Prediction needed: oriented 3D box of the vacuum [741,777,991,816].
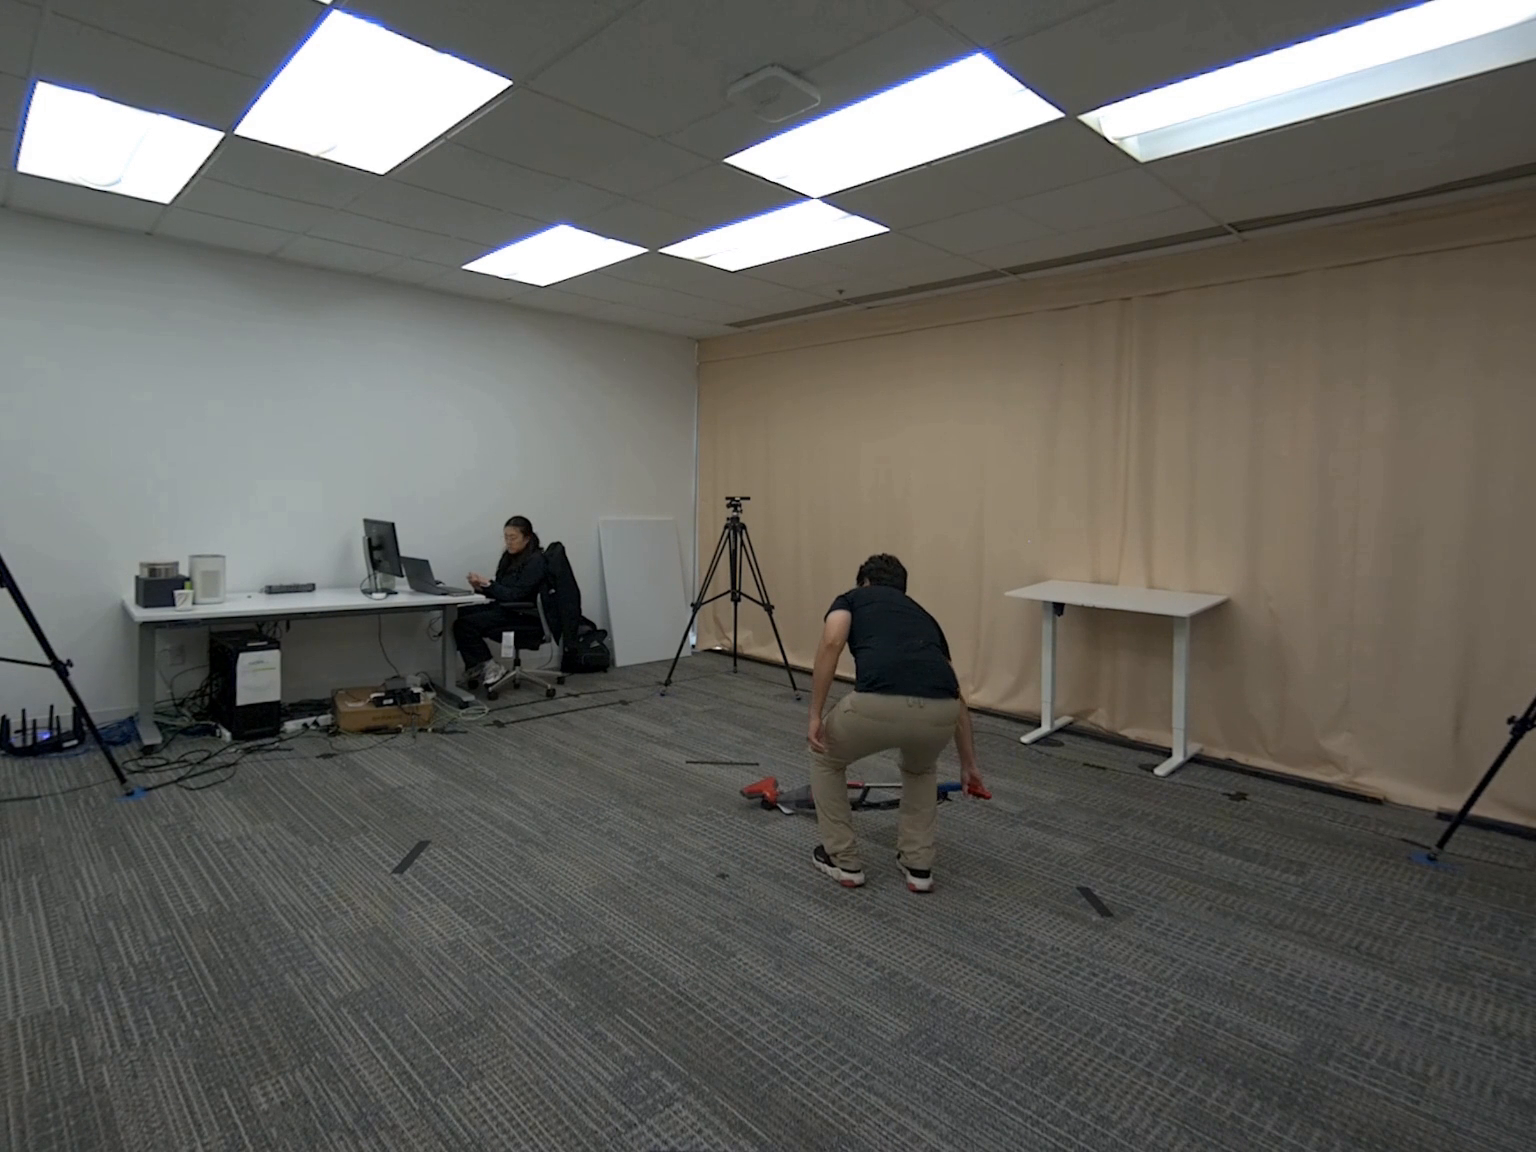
[{"bbox_3d":[0.398,0.936,3.562,1.069,0.144,0.247,-9,-1,35],"label":"vacuum"}]
